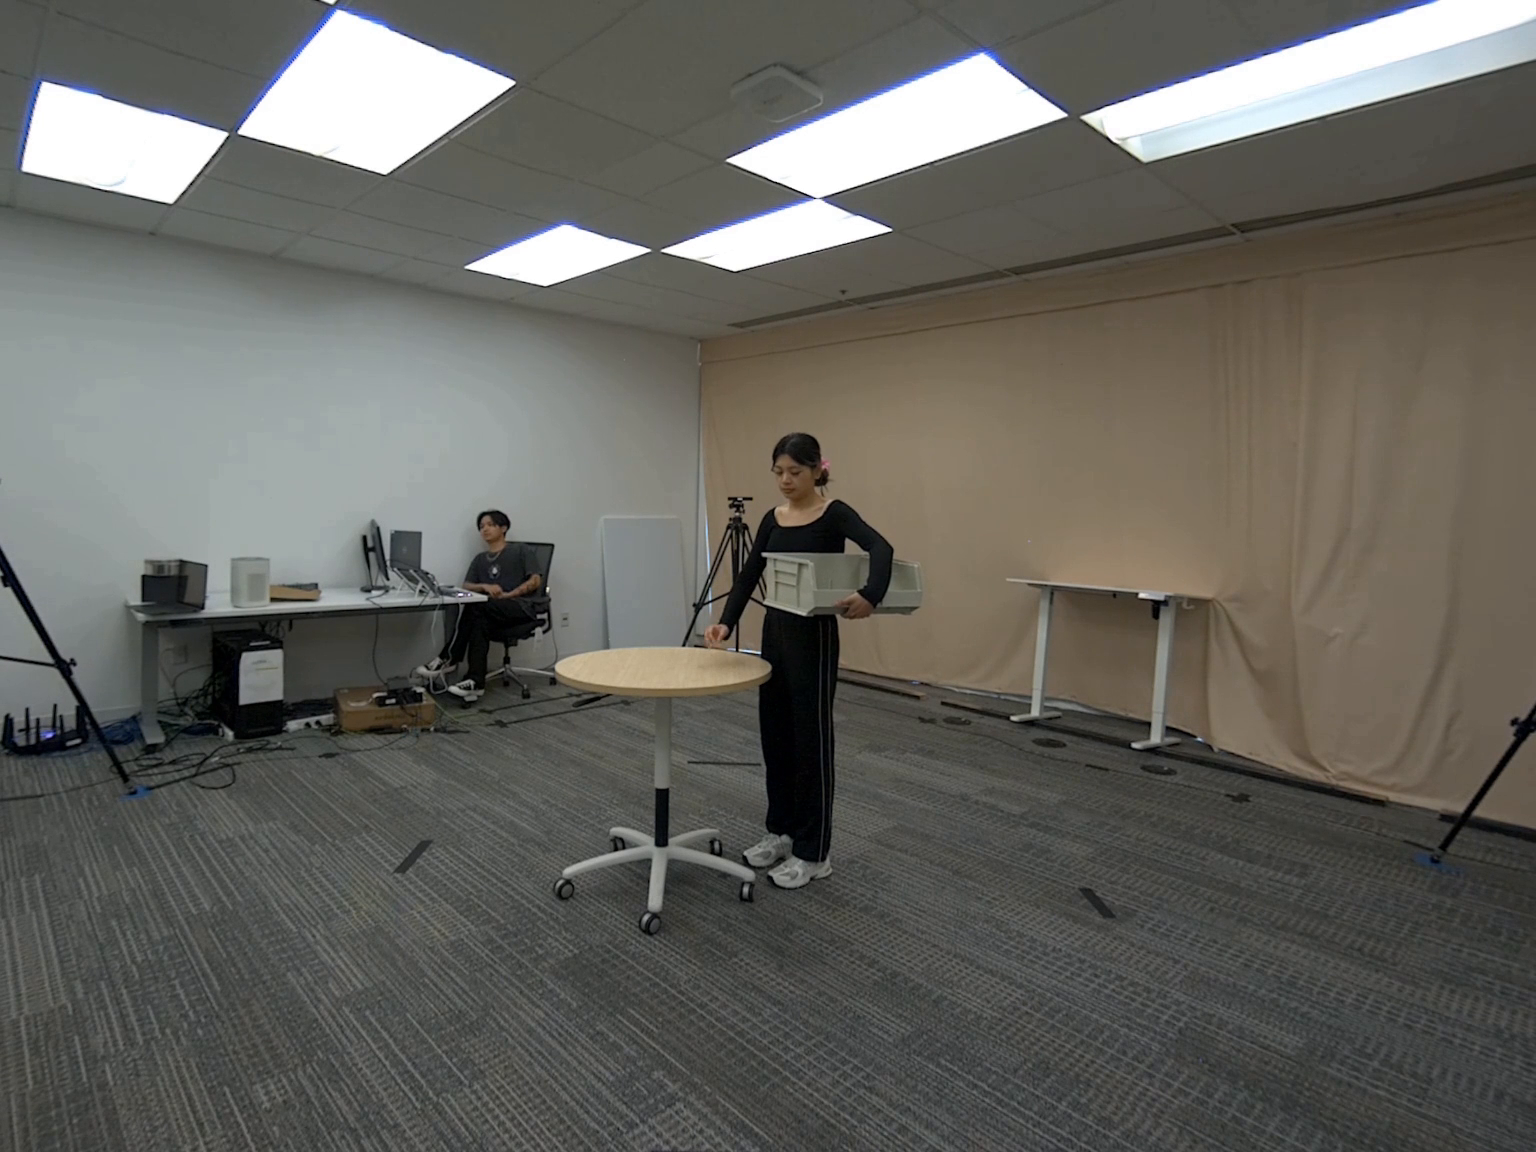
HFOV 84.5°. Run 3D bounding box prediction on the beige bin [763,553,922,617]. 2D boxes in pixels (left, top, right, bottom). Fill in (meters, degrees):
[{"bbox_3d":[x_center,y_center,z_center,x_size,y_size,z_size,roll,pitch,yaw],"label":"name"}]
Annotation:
[{"bbox_3d":[0.245,0.028,2.864,0.415,0.188,0.385,-1,6,-25],"label":"beige bin"}]
